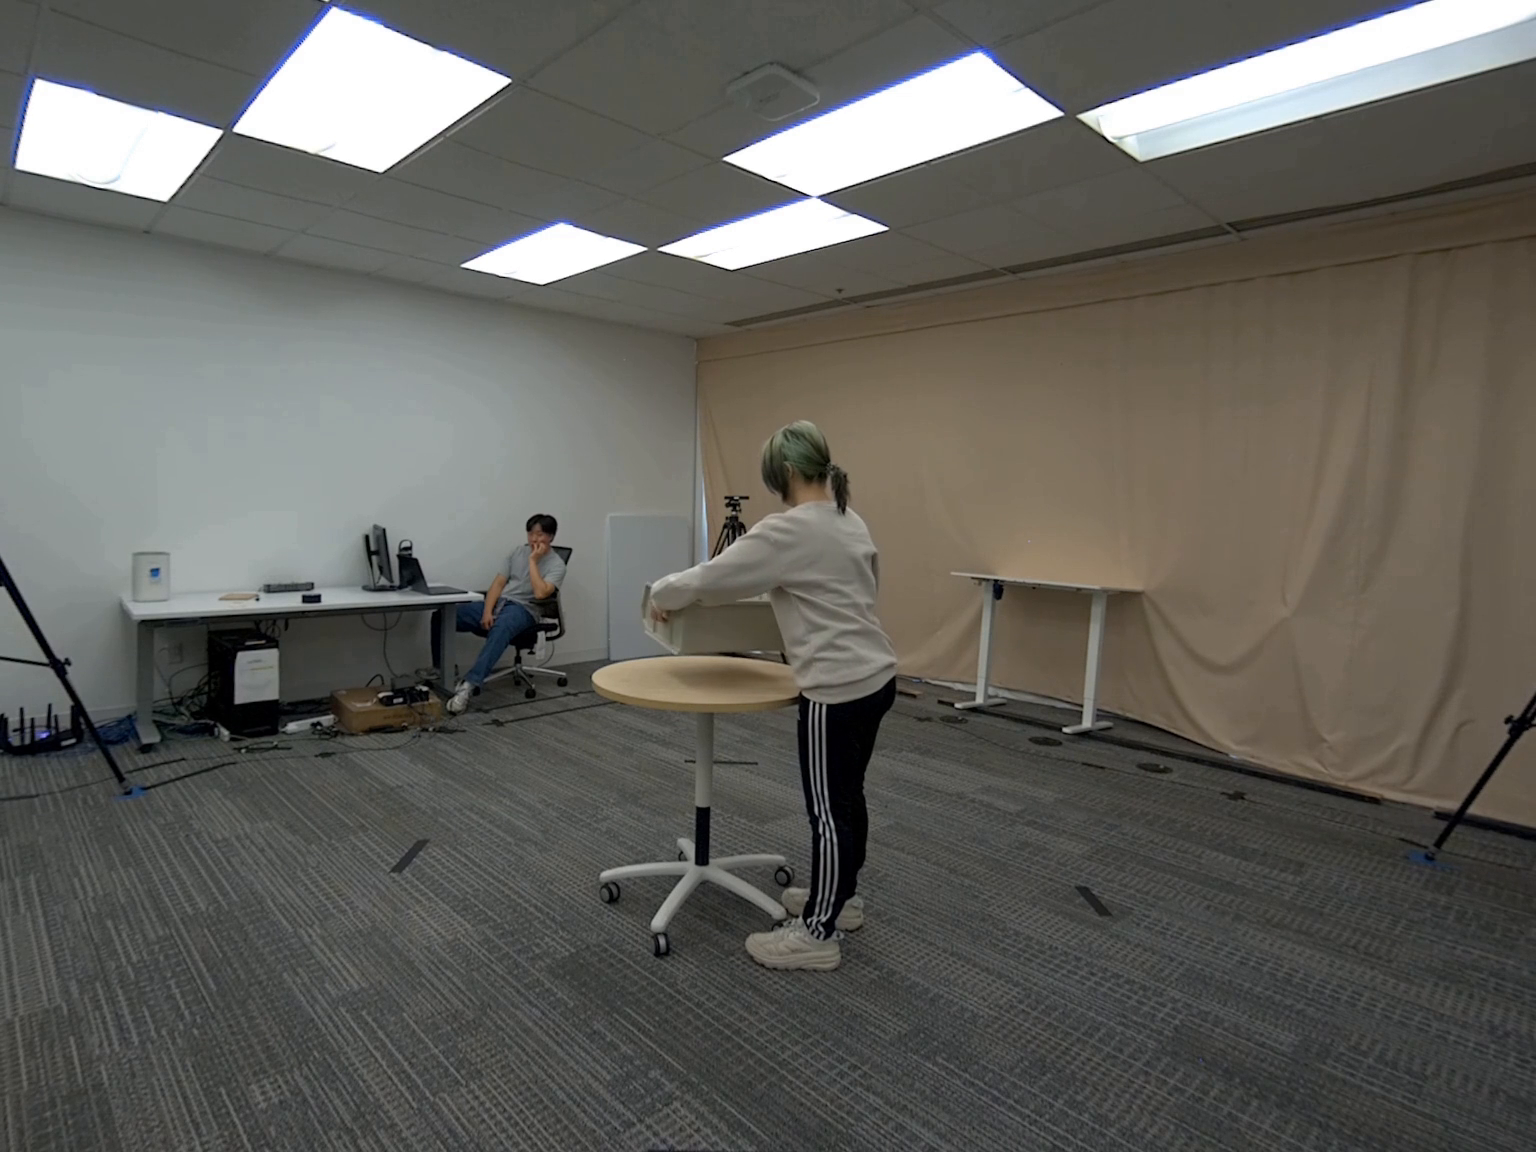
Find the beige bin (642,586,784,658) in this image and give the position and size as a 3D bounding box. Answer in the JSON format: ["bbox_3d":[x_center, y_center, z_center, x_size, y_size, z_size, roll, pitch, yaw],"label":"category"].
[{"bbox_3d":[-0.180,0.142,2.871,0.414,0.188,0.386,1,9,-26],"label":"beige bin"}]
